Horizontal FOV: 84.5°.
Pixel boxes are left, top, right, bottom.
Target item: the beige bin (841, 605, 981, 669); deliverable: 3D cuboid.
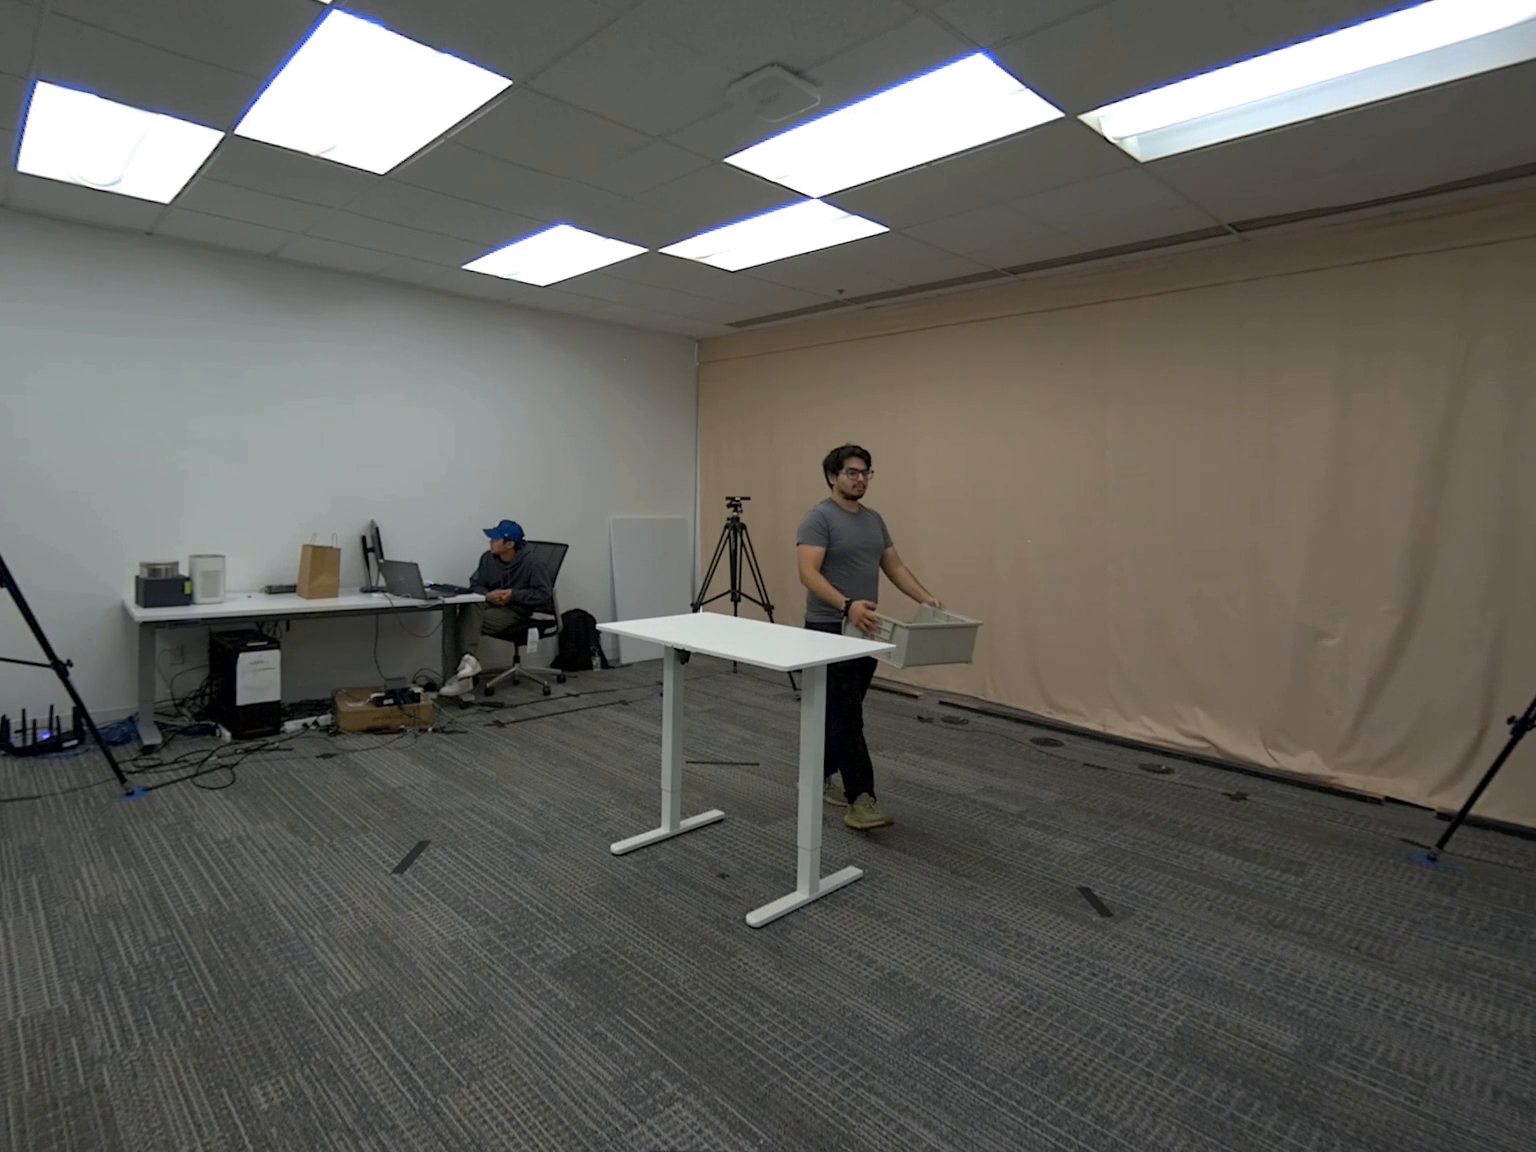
[{"bbox_3d":[0.585,0.230,3.461,0.412,0.188,0.388,2,11,-37],"label":"beige bin"}]
